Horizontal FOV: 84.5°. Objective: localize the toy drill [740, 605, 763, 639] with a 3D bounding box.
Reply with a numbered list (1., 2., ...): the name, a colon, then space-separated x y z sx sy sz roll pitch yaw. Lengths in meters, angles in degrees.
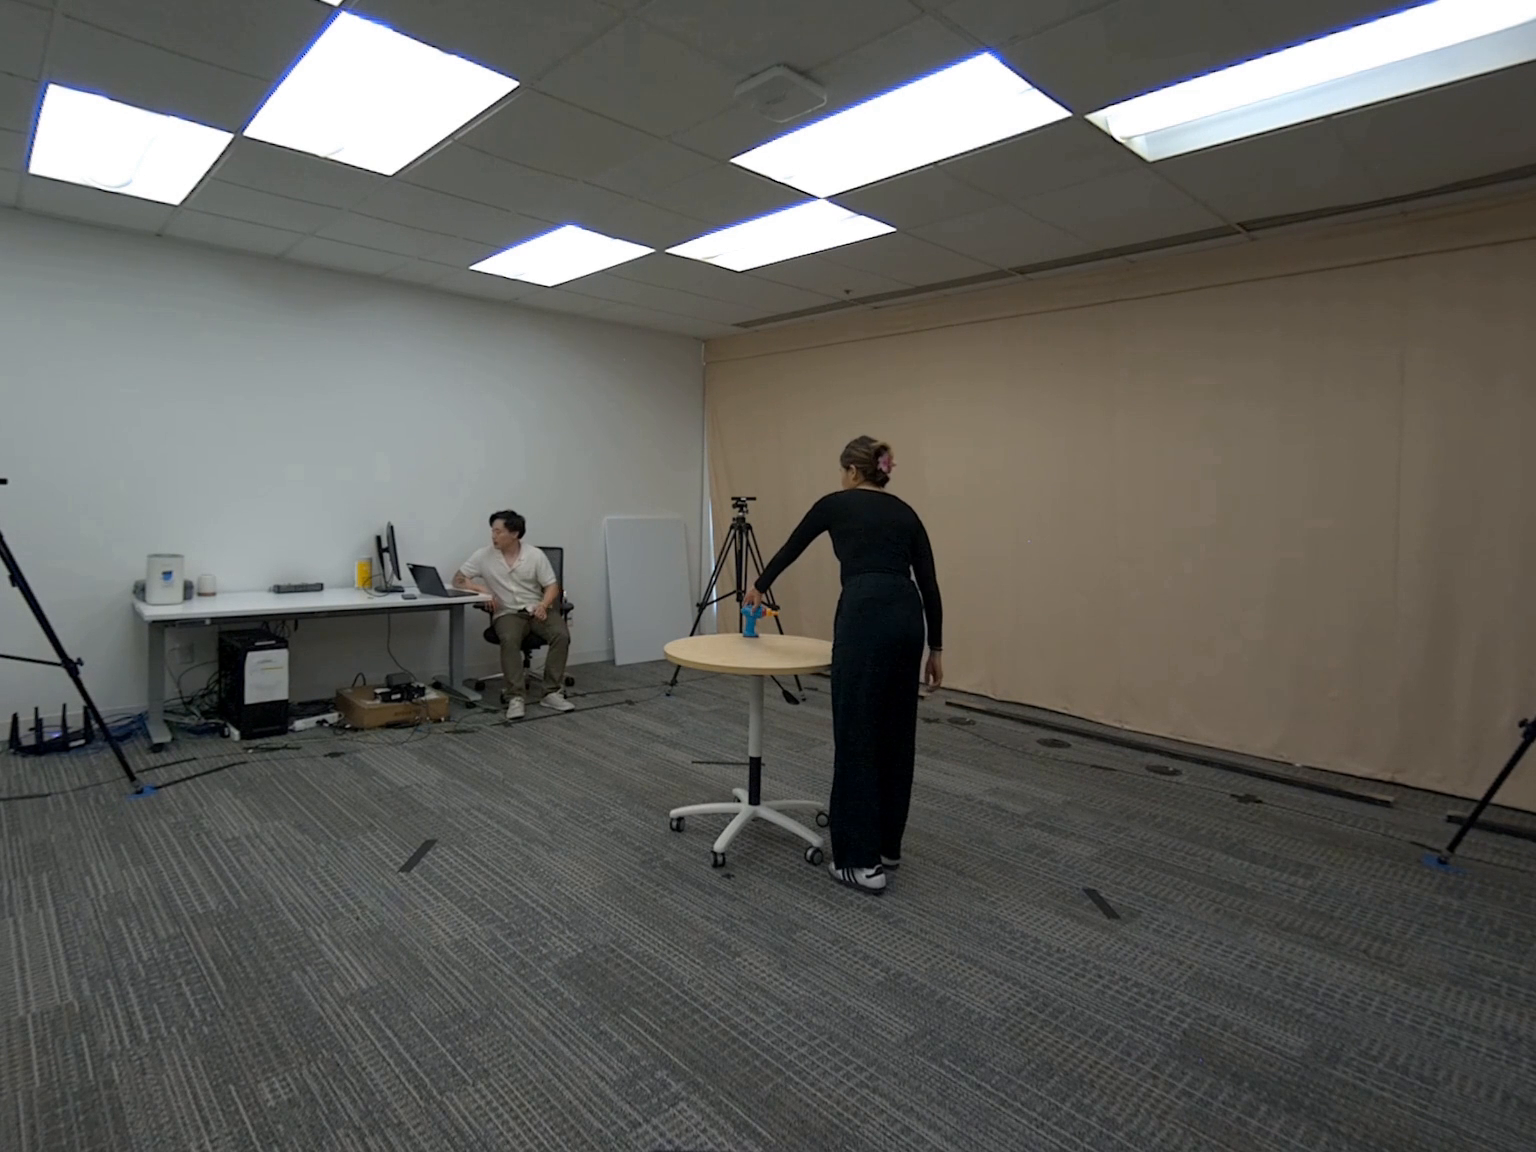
1. toy drill: -0.037 0.197 3.707 0.170 0.145 0.061 2 4 5
